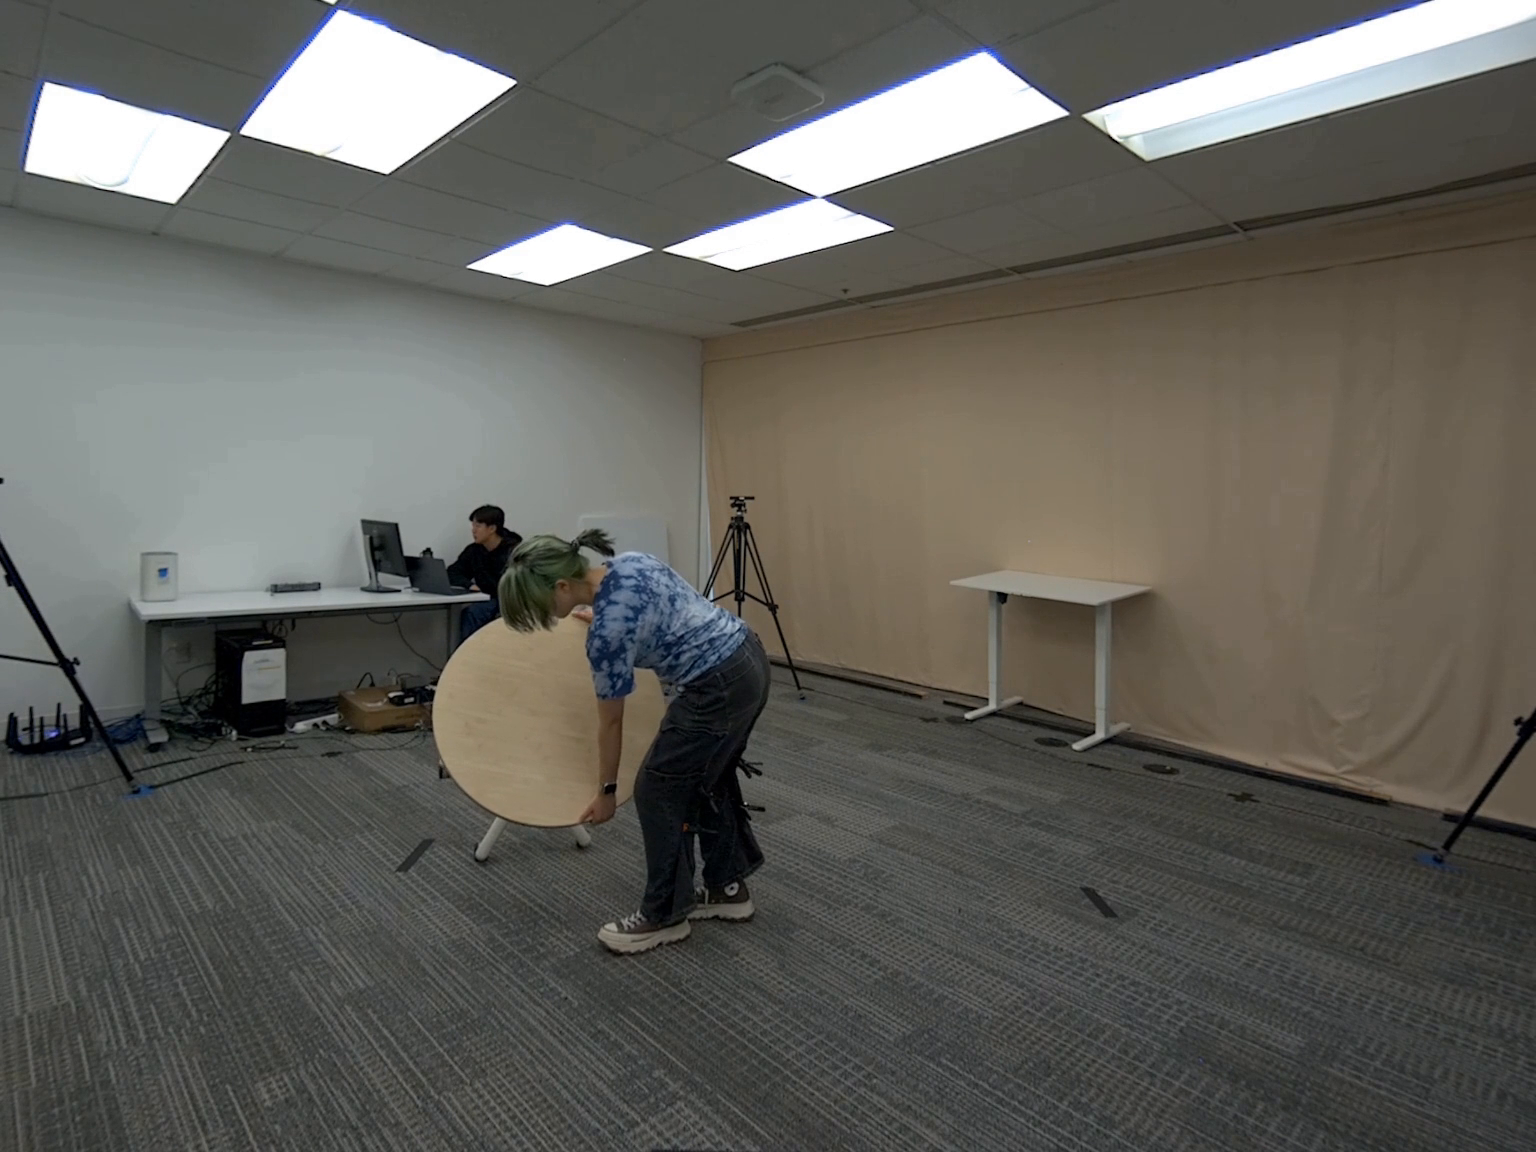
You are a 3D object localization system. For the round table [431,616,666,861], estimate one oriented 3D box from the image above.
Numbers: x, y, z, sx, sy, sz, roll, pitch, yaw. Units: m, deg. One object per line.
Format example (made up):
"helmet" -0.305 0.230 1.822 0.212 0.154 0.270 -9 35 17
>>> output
"round table" -0.856 0.646 3.109 0.751 0.782 0.788 0 -32 -23
